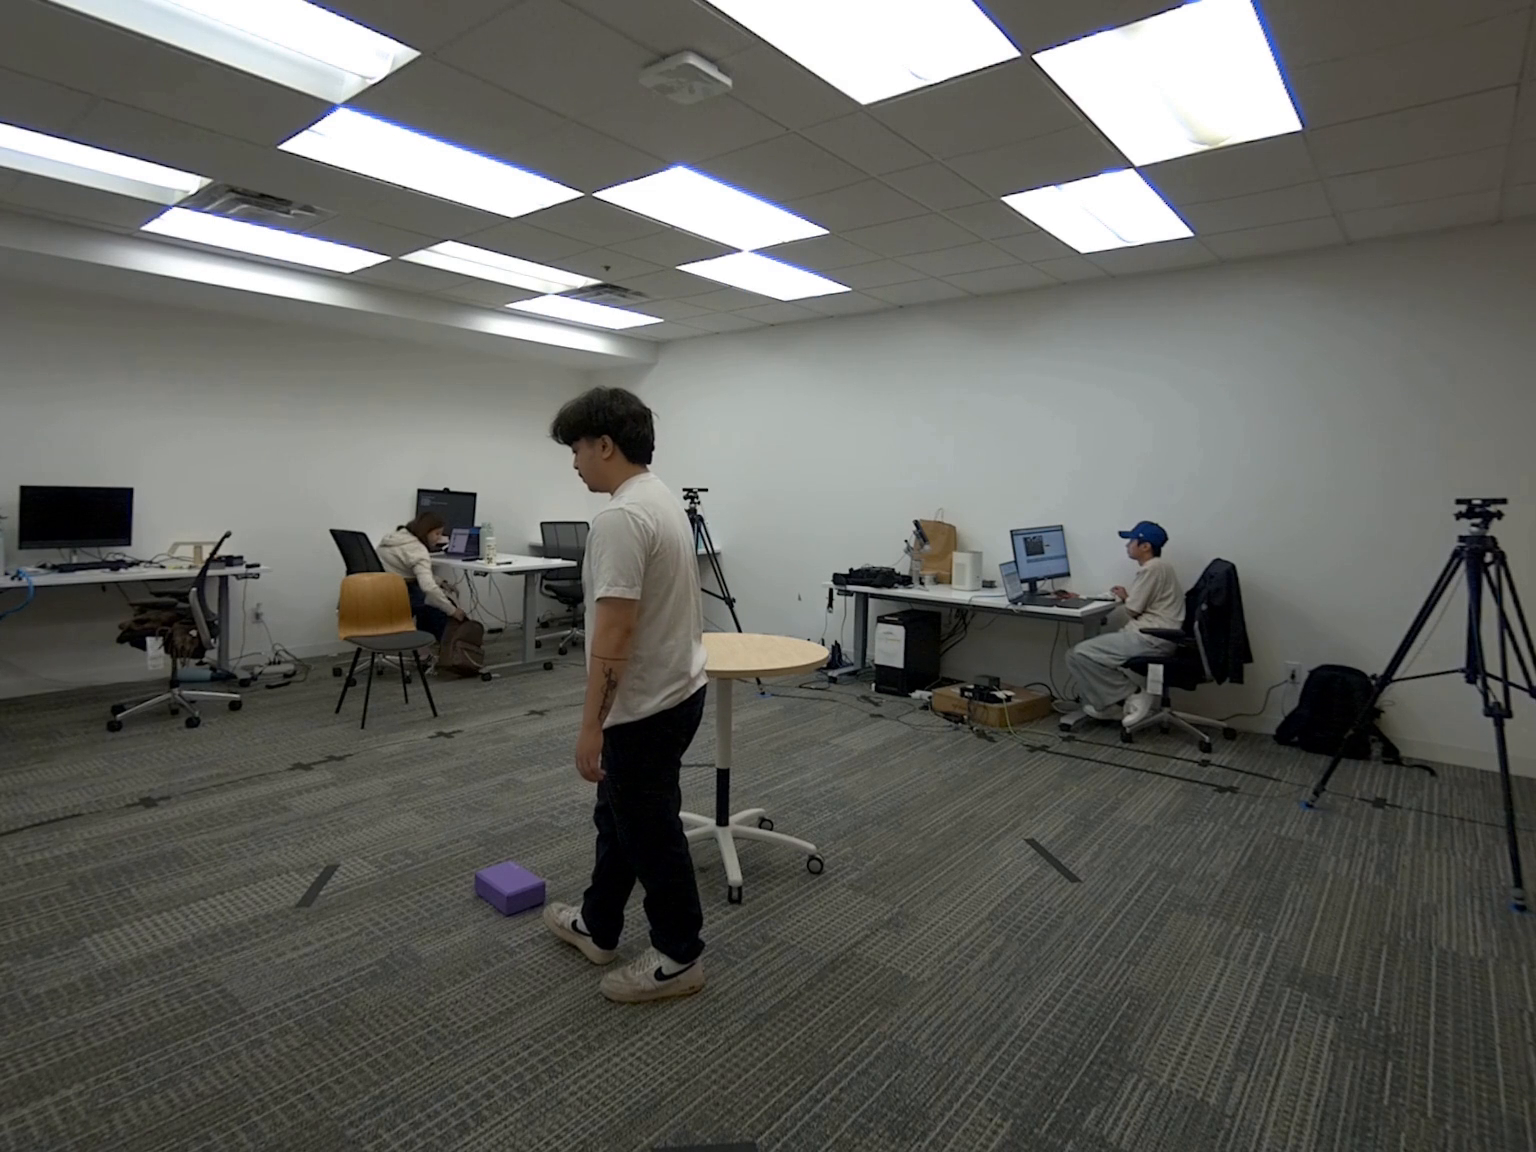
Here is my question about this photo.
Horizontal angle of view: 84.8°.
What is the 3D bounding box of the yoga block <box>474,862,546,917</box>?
[{"bbox_3d":[-0.880,1.045,2.860,0.237,0.076,0.144,5,6,44],"label":"yoga block"}]
